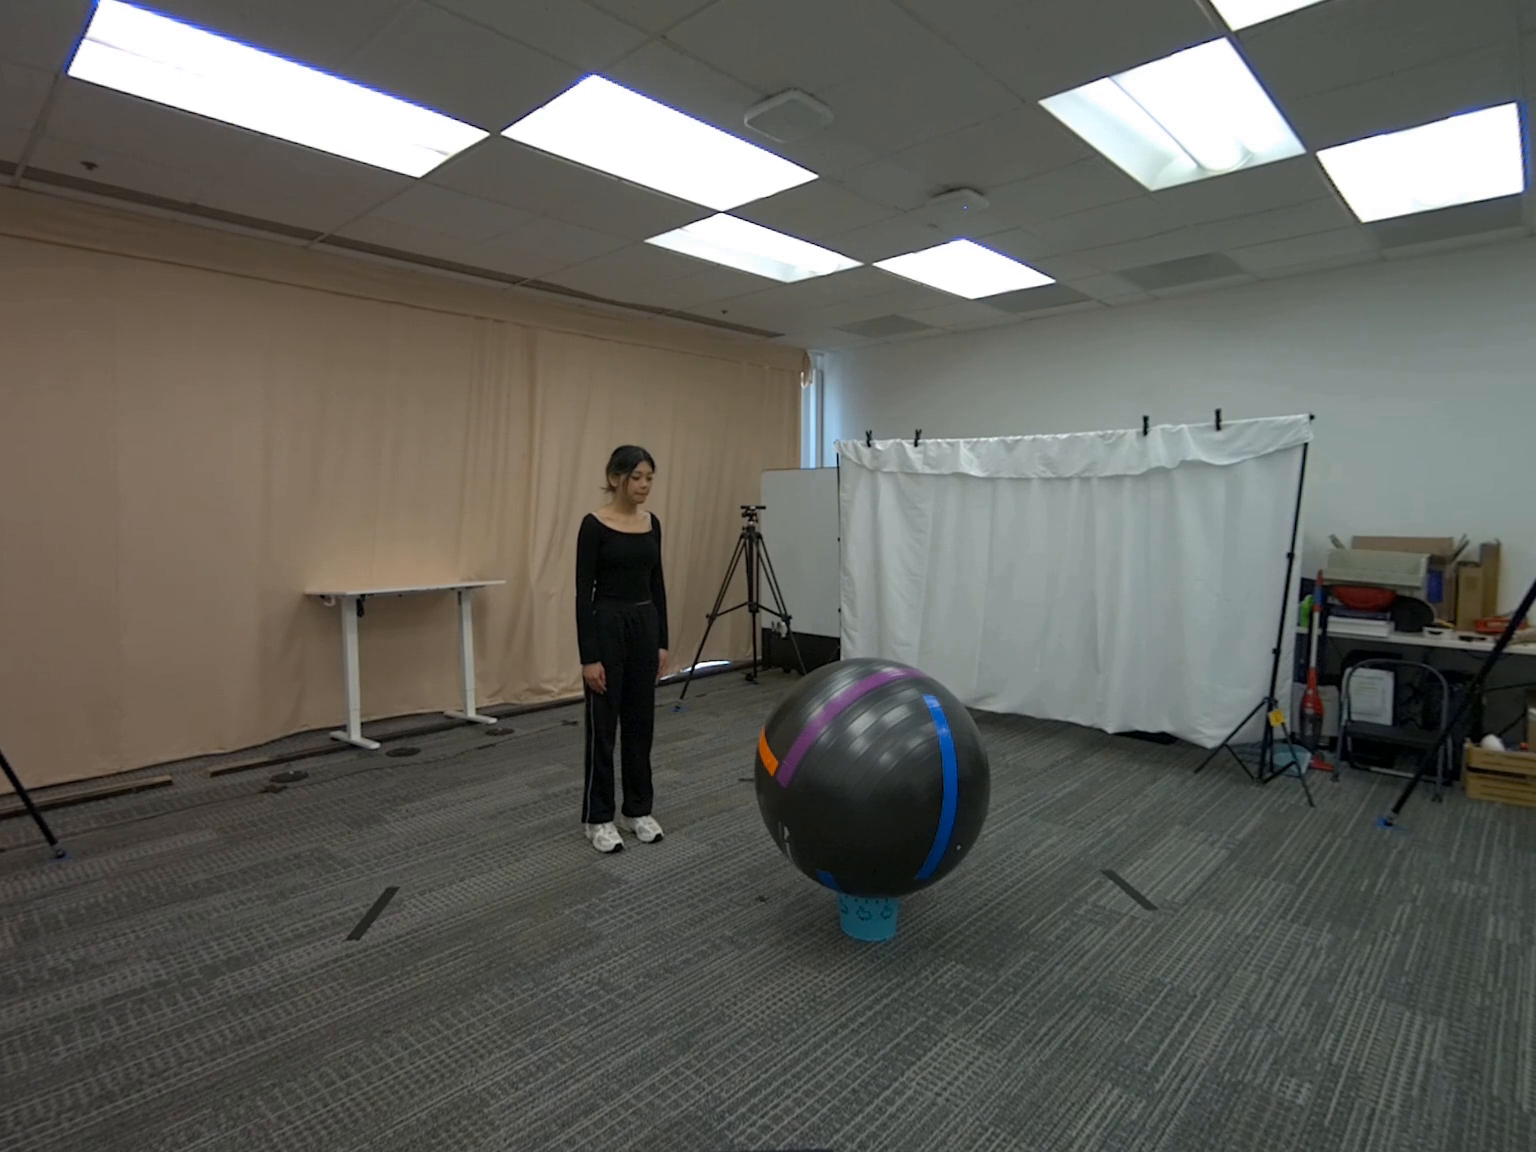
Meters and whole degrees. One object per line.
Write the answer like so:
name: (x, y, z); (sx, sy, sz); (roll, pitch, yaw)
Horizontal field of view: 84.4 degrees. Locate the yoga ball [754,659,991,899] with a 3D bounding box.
yoga ball: (0.339, 0.651, 2.761); (0.757, 0.756, 0.760); (0, 4, -2)
